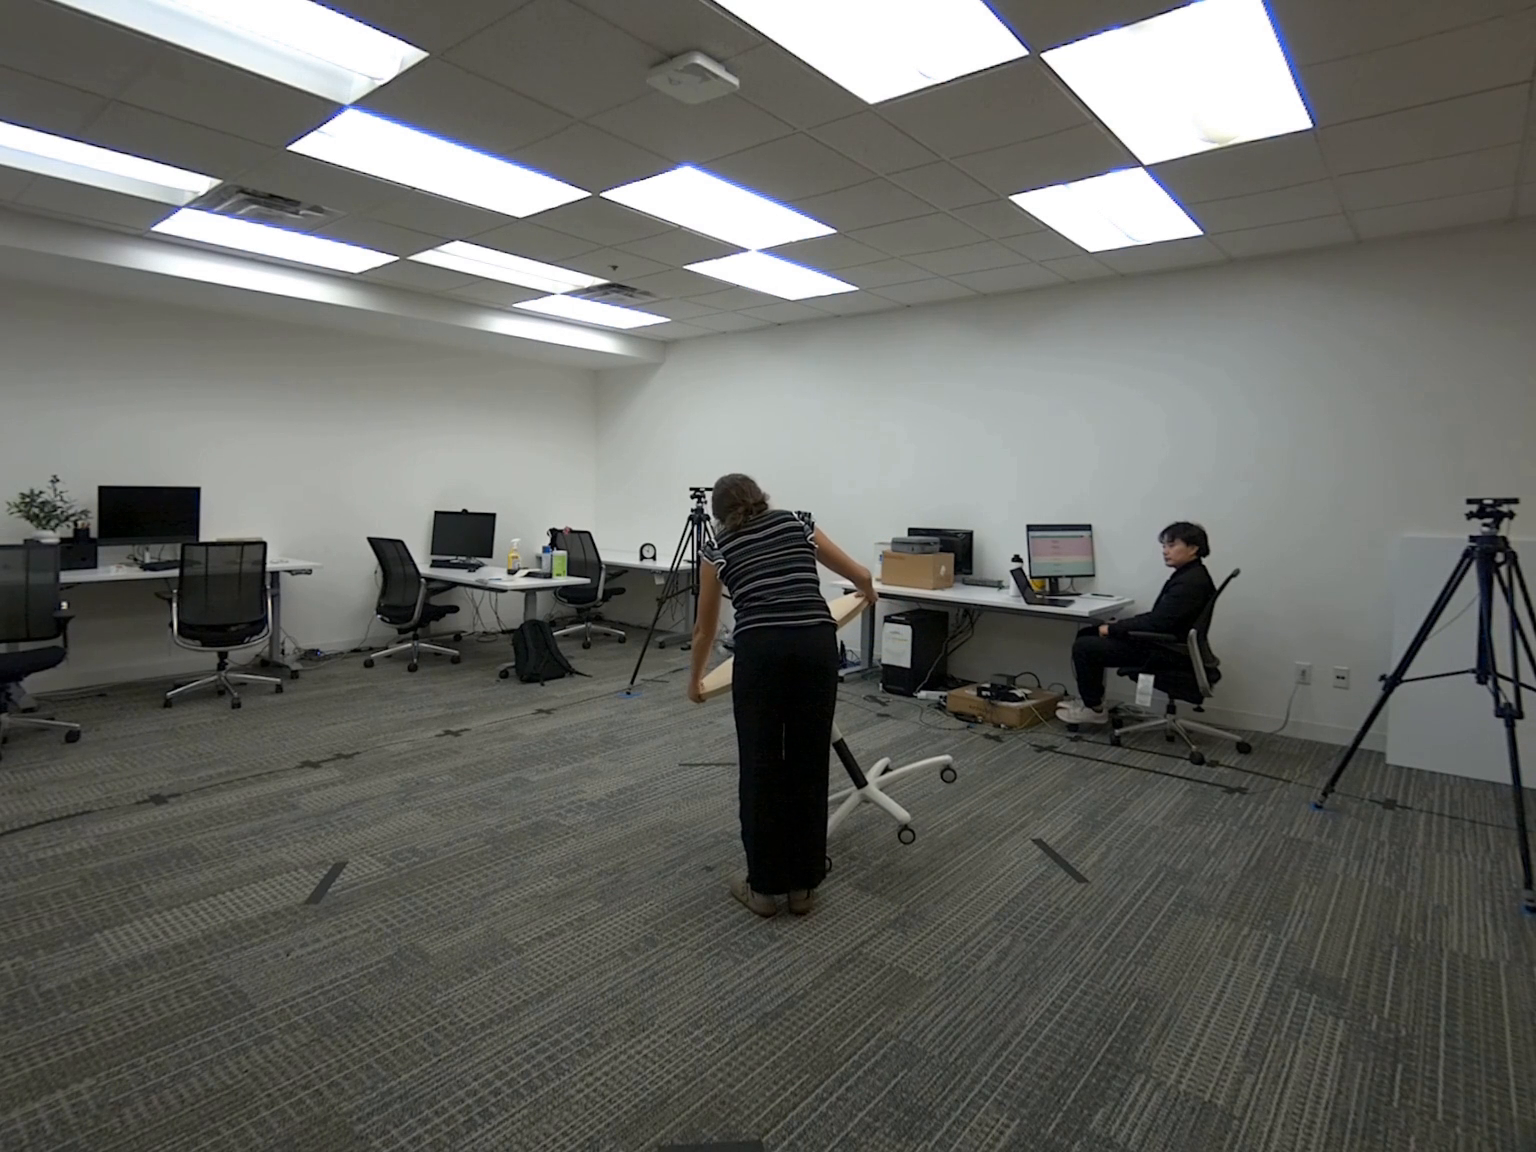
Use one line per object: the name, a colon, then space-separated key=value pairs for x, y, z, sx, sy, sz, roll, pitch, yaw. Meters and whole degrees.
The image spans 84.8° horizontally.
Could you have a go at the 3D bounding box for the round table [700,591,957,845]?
round table: x=0.242 y=0.590 z=3.299 sx=0.763 sy=0.793 sz=0.765 roll=-29 pitch=2 yaw=-1
